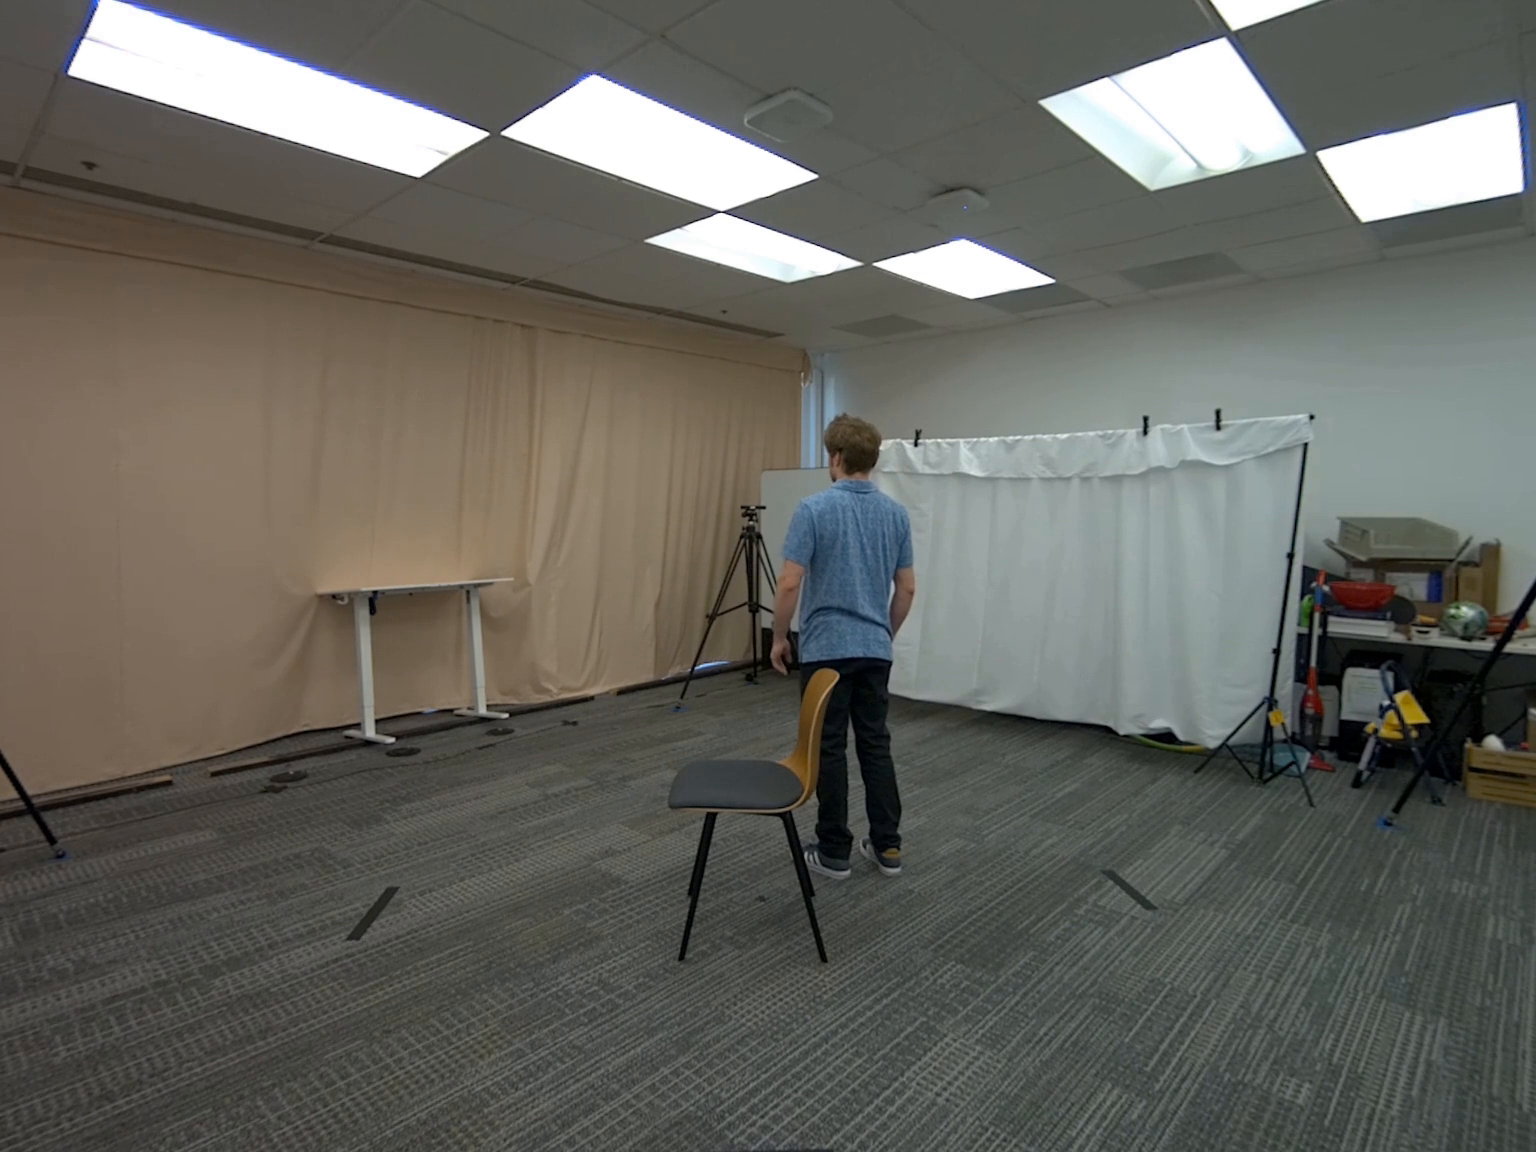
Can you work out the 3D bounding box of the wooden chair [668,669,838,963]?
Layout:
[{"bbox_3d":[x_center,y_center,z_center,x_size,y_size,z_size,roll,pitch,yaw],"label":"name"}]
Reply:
[{"bbox_3d":[-0.062,0.738,2.753,0.523,0.875,0.479,4,4,0],"label":"wooden chair"}]
